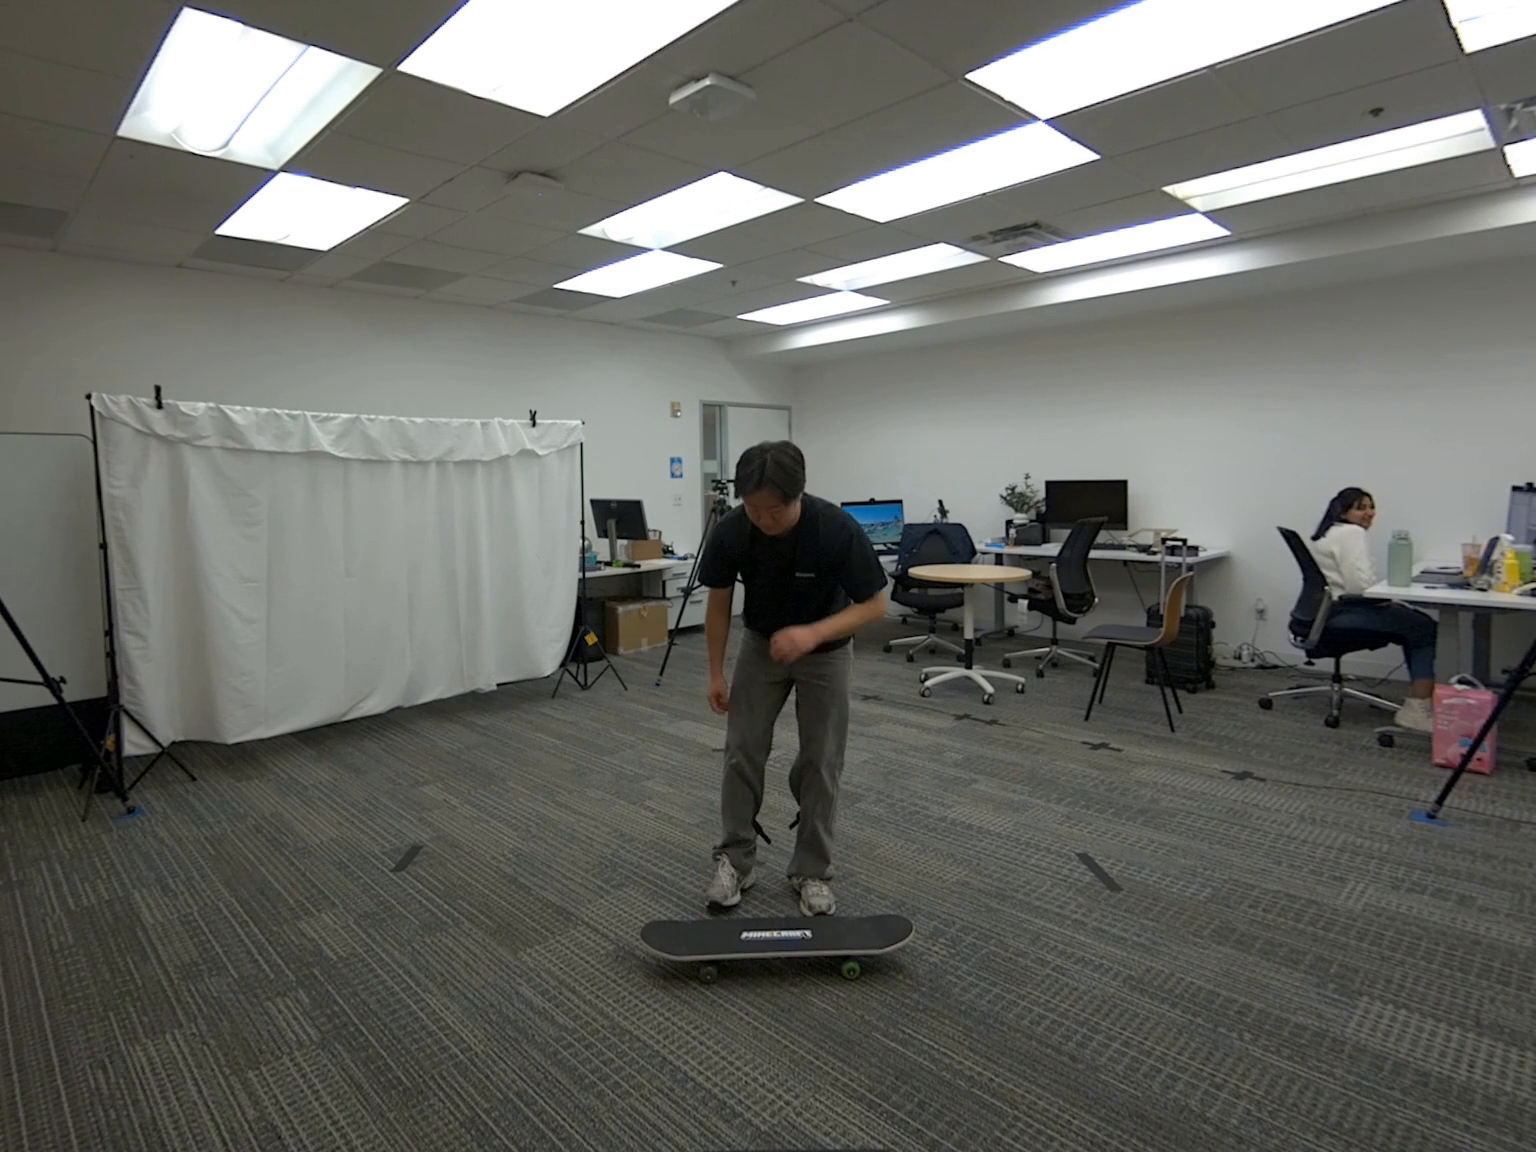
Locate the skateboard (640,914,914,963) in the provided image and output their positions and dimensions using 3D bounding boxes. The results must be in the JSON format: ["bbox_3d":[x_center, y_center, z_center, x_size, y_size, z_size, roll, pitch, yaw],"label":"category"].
[{"bbox_3d":[0.028,1.057,2.462,0.786,0.110,0.194,-1,6,0],"label":"skateboard"}]
